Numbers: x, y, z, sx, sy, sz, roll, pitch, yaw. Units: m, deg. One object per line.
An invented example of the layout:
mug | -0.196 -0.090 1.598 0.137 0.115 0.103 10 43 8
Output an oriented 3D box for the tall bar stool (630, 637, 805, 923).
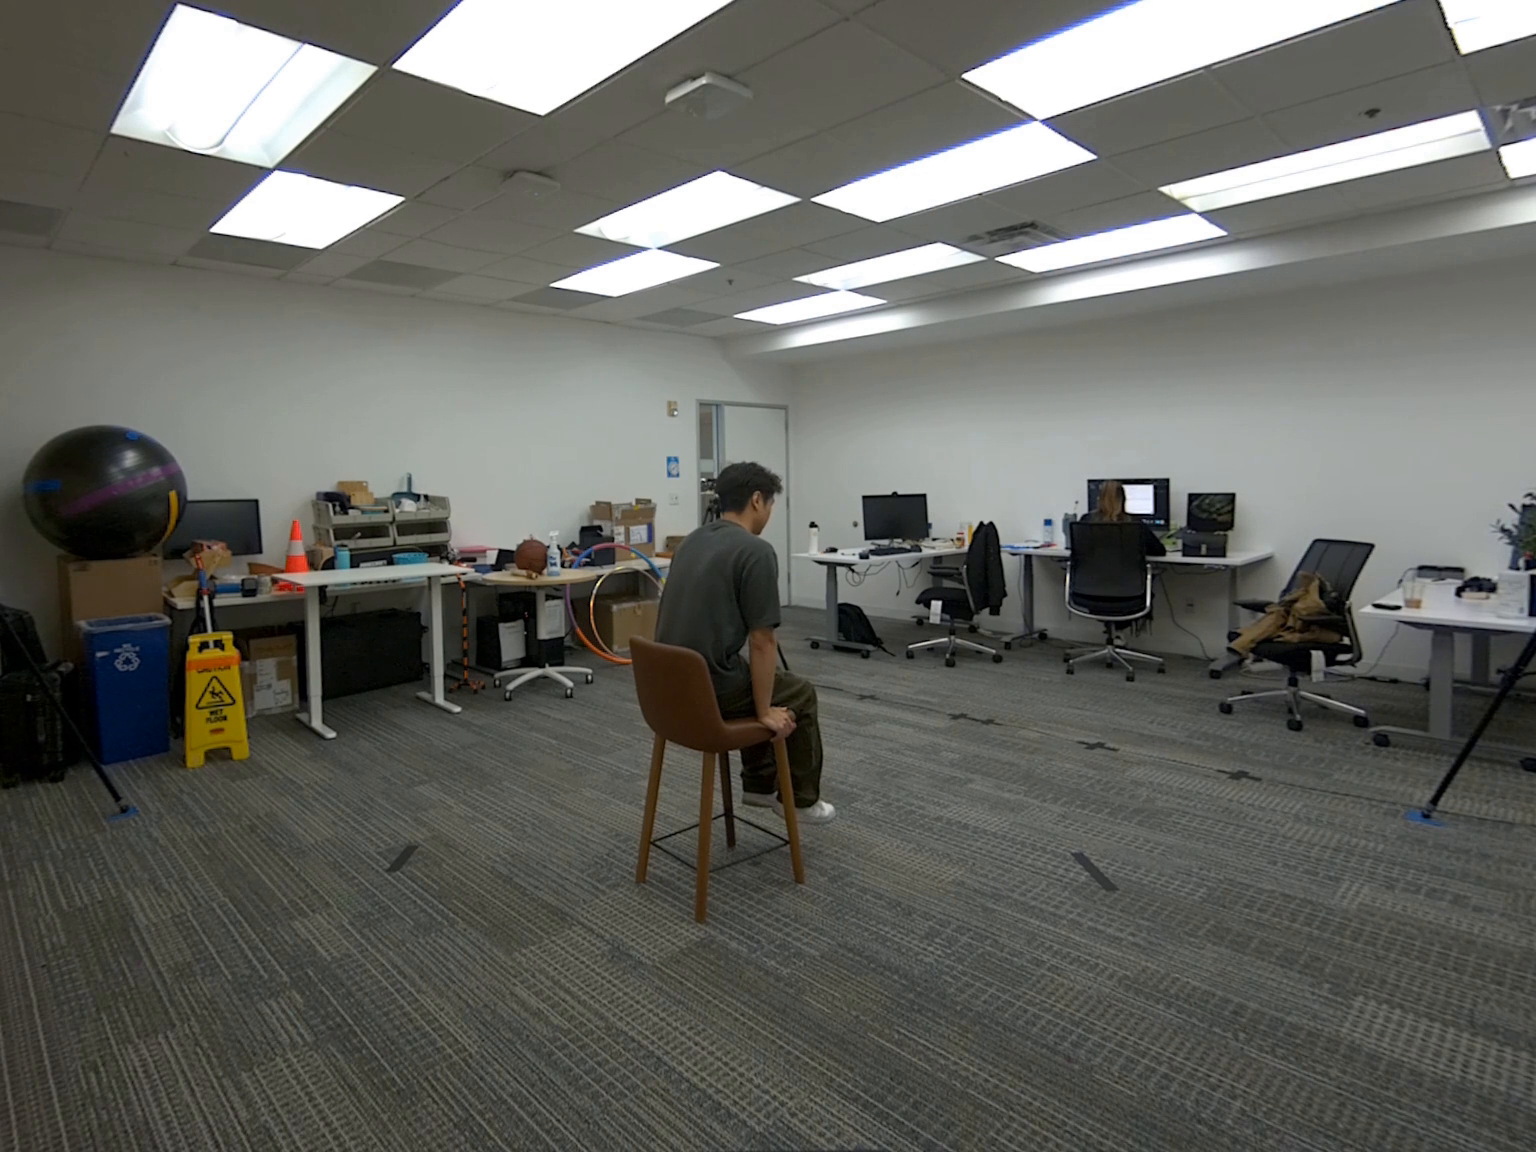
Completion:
tall bar stool | -0.188 0.630 2.934 0.456 0.885 0.470 -7 7 -40
